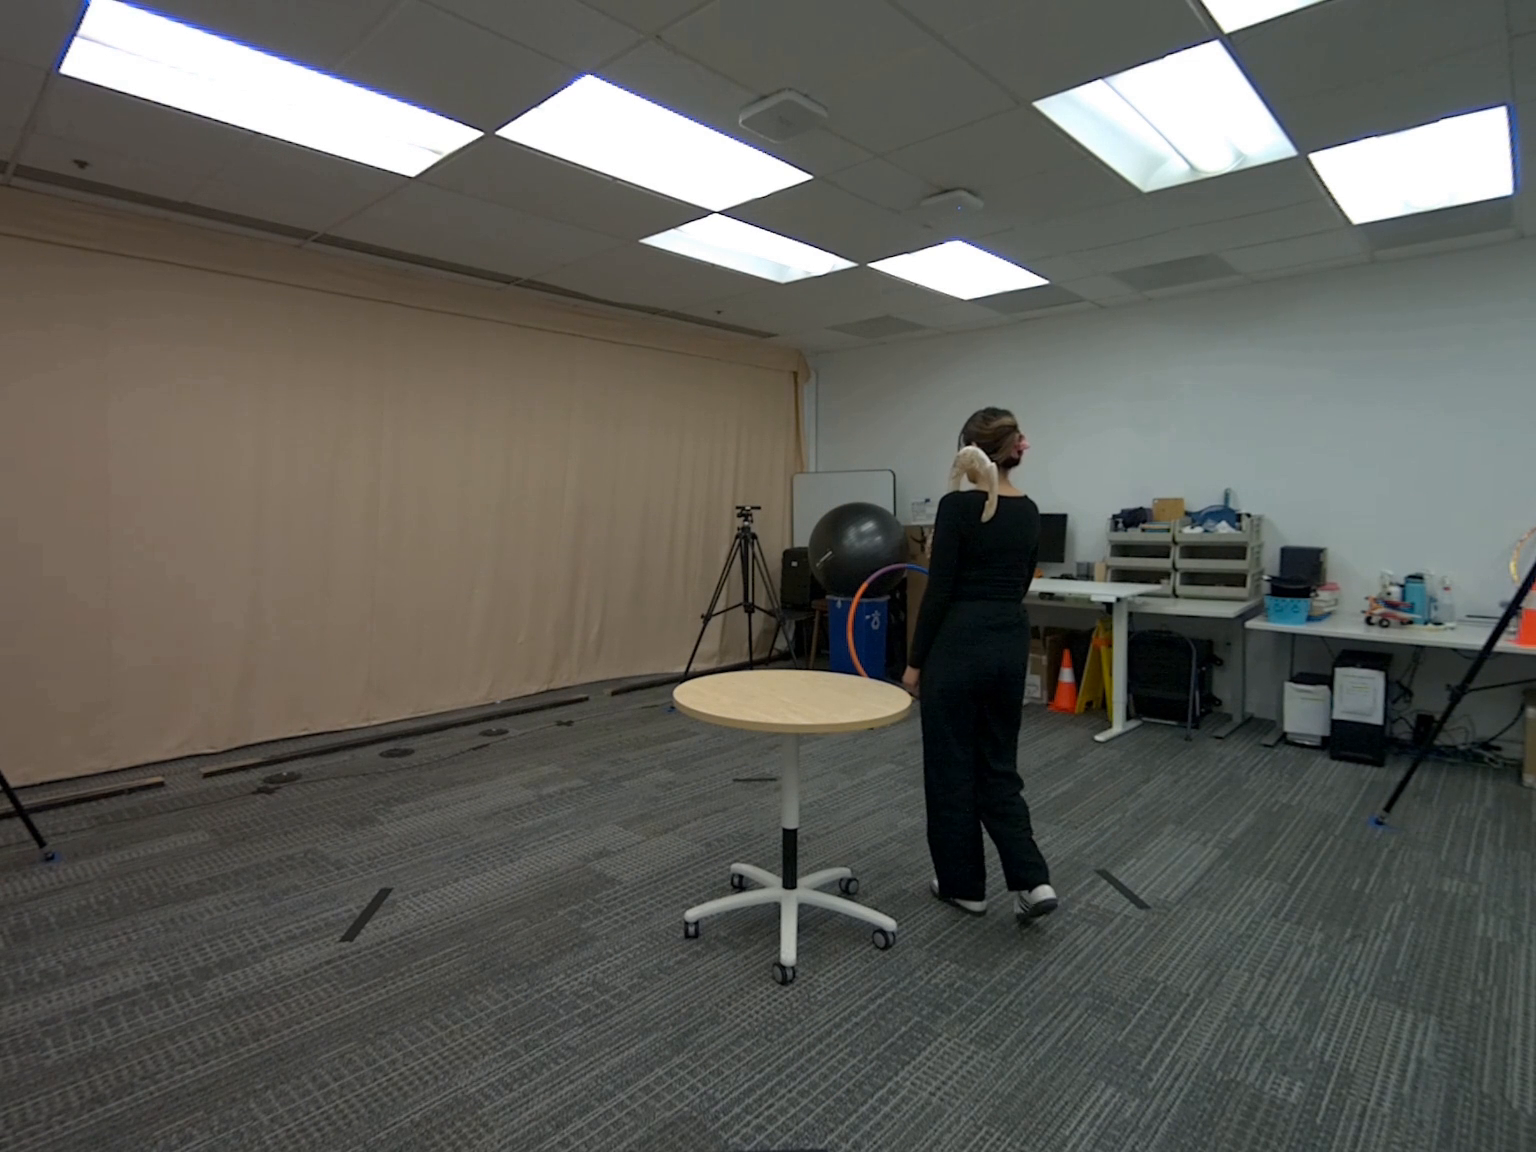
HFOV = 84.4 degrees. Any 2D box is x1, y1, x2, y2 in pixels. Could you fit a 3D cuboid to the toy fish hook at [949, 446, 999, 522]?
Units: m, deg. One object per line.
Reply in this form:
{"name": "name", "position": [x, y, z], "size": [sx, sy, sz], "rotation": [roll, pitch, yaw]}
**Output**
{"name": "toy fish hook", "position": [0.652, -0.196, 2.762], "size": [0.047, 0.499, 0.231], "rotation": [-10, 48, -20]}
